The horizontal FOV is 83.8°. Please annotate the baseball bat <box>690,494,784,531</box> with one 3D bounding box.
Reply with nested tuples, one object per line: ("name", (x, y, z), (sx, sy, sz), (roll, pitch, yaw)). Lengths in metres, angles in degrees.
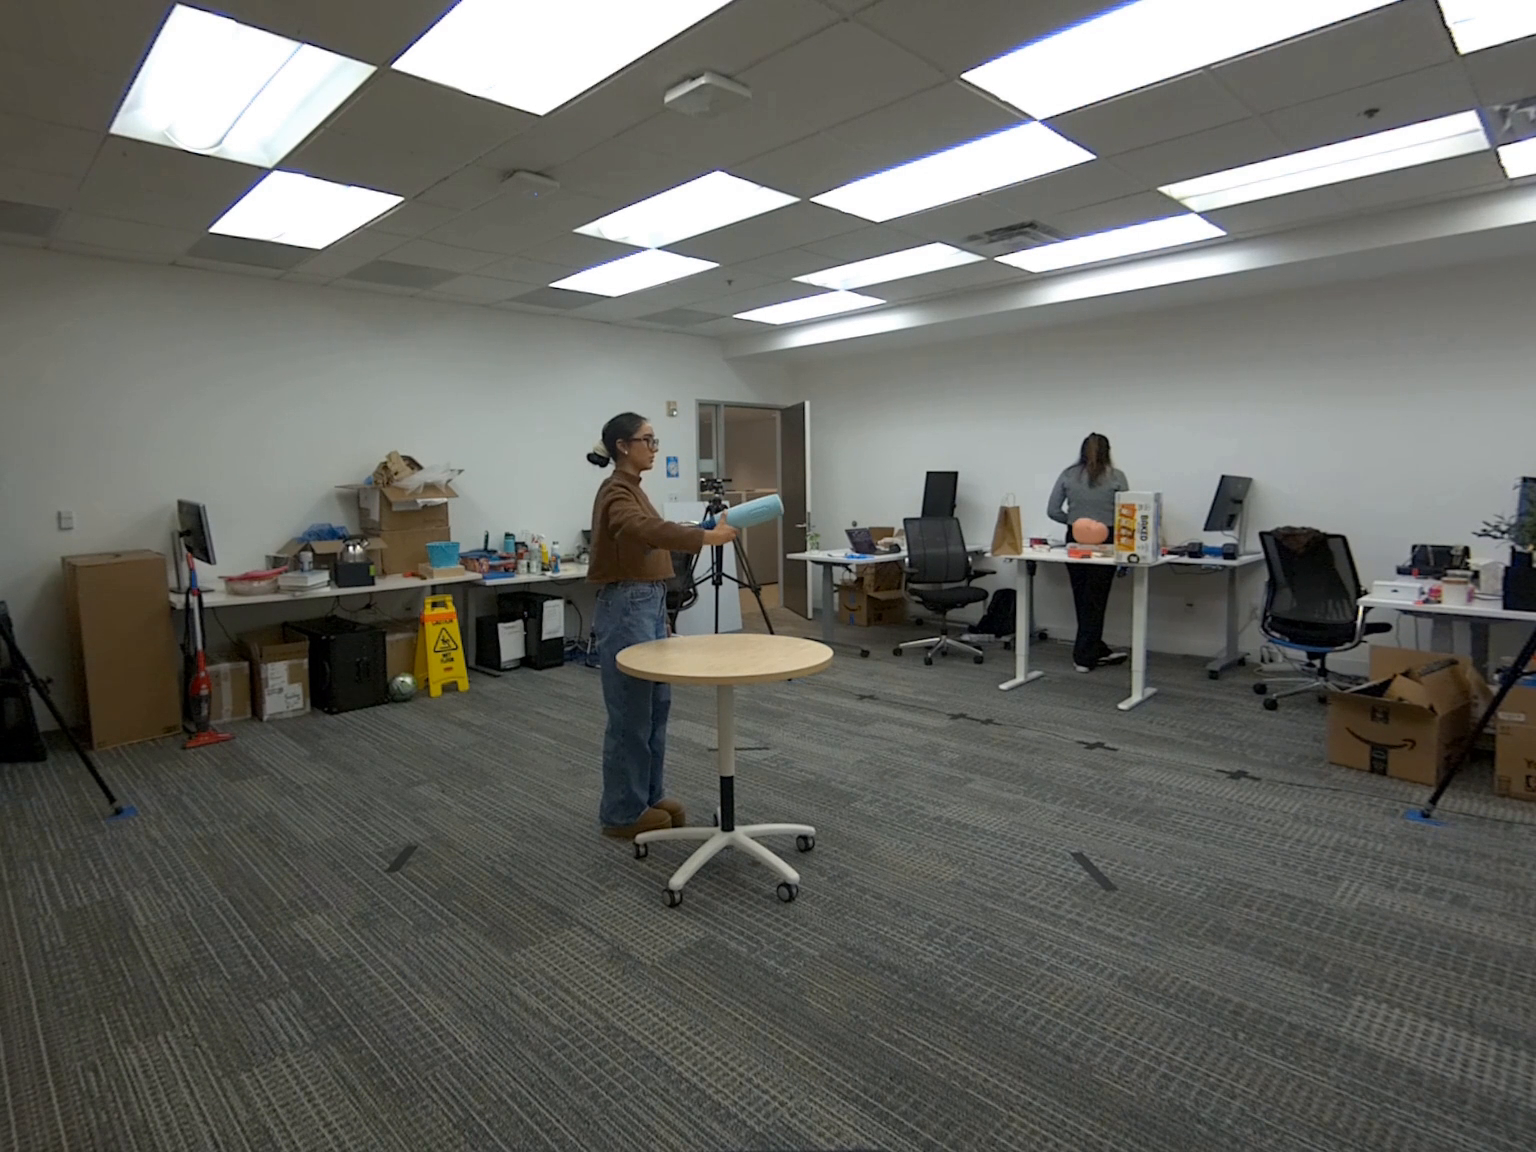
("baseball bat", (-0.208, -0.181, 3.129), (0.544, 0.089, 0.089), (-18, 4, 3))
